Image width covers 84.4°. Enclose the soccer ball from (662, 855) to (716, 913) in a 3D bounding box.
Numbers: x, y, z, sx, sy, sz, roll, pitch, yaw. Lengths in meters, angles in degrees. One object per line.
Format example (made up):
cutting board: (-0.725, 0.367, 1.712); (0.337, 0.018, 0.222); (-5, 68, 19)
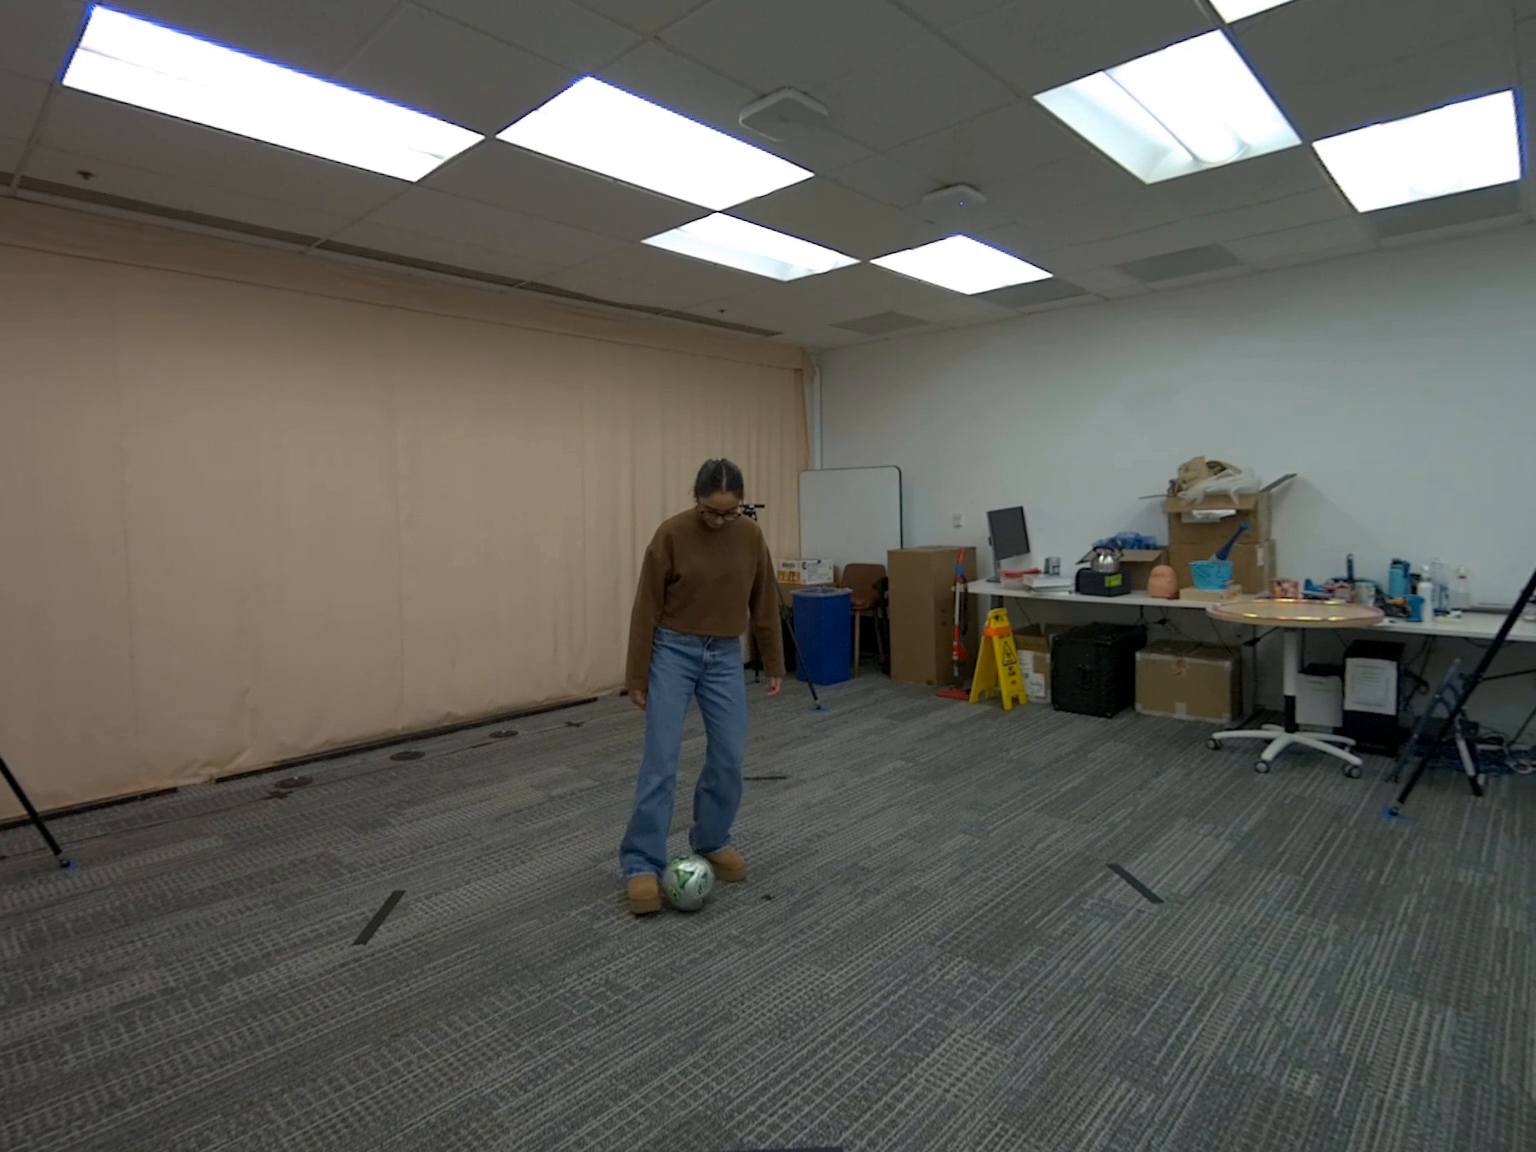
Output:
soccer ball: (-0.272, 1.050, 2.909); (0.187, 0.187, 0.188); (-1, 4, -2)
